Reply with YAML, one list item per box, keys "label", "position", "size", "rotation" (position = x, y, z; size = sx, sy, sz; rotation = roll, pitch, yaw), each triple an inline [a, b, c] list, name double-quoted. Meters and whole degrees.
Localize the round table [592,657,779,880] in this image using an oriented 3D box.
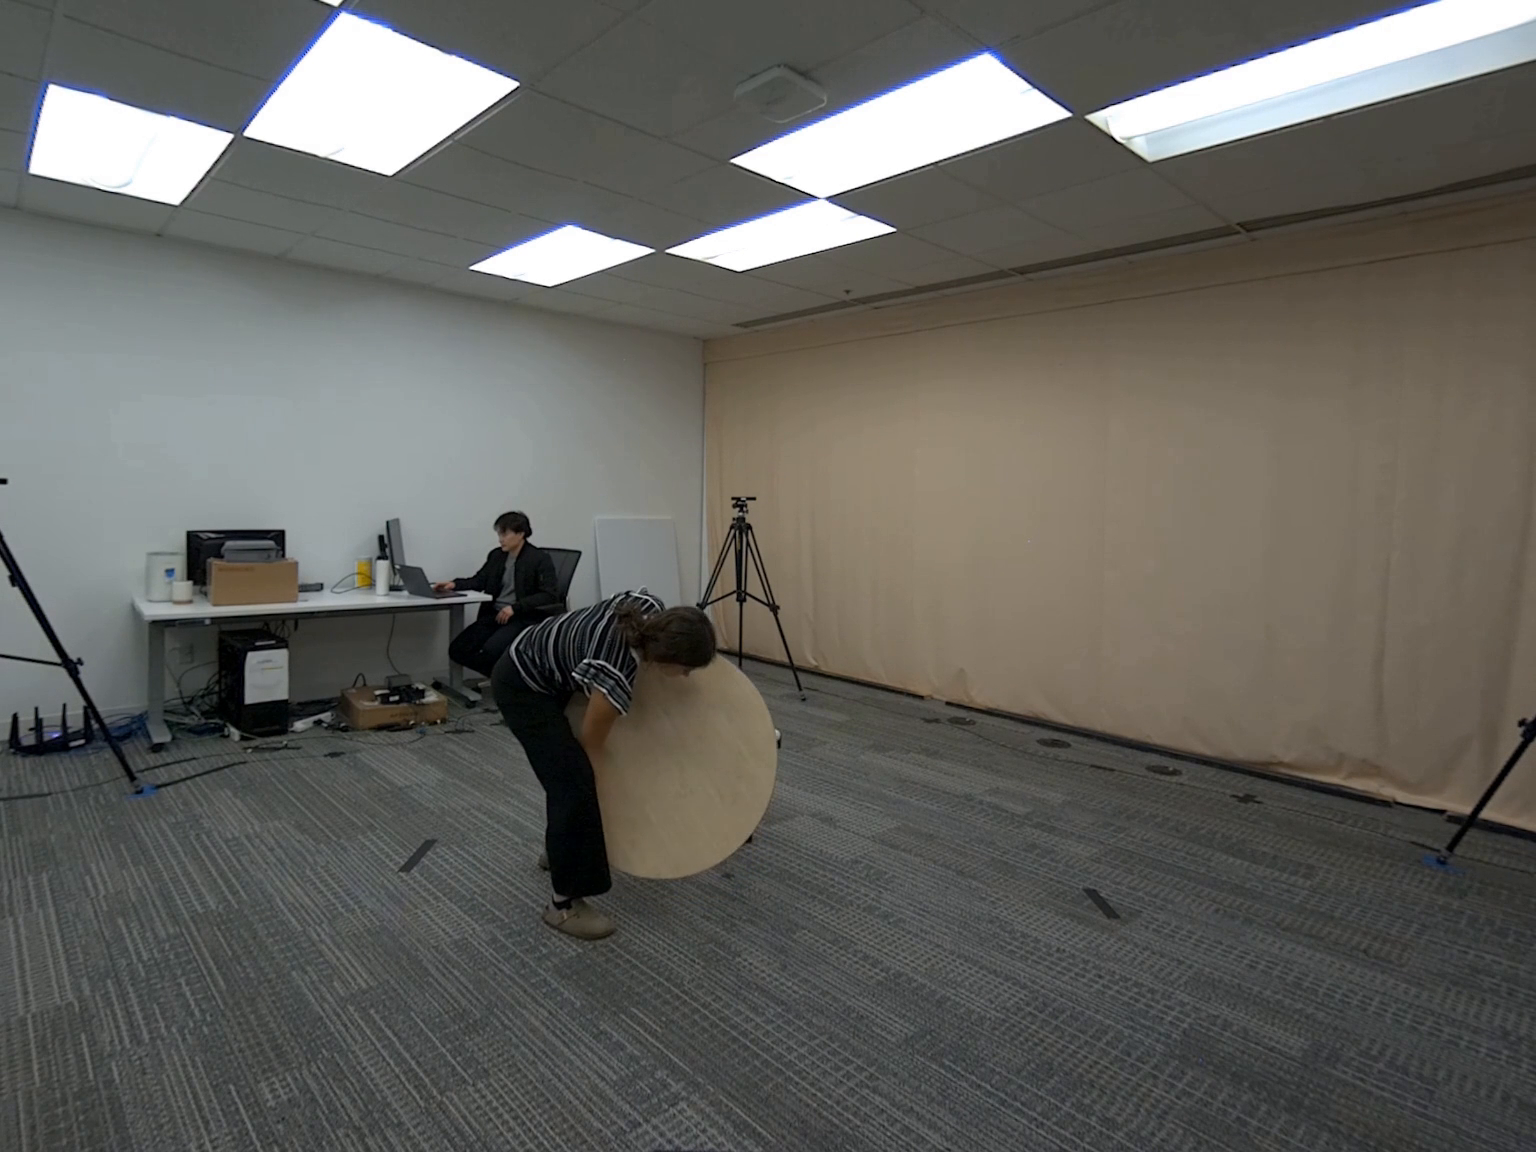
- label: "round table"
  position: [-0.325, 0.691, 3.191]
  size: [0.790, 0.793, 0.773]
  rotation: [2, -15, 7]
